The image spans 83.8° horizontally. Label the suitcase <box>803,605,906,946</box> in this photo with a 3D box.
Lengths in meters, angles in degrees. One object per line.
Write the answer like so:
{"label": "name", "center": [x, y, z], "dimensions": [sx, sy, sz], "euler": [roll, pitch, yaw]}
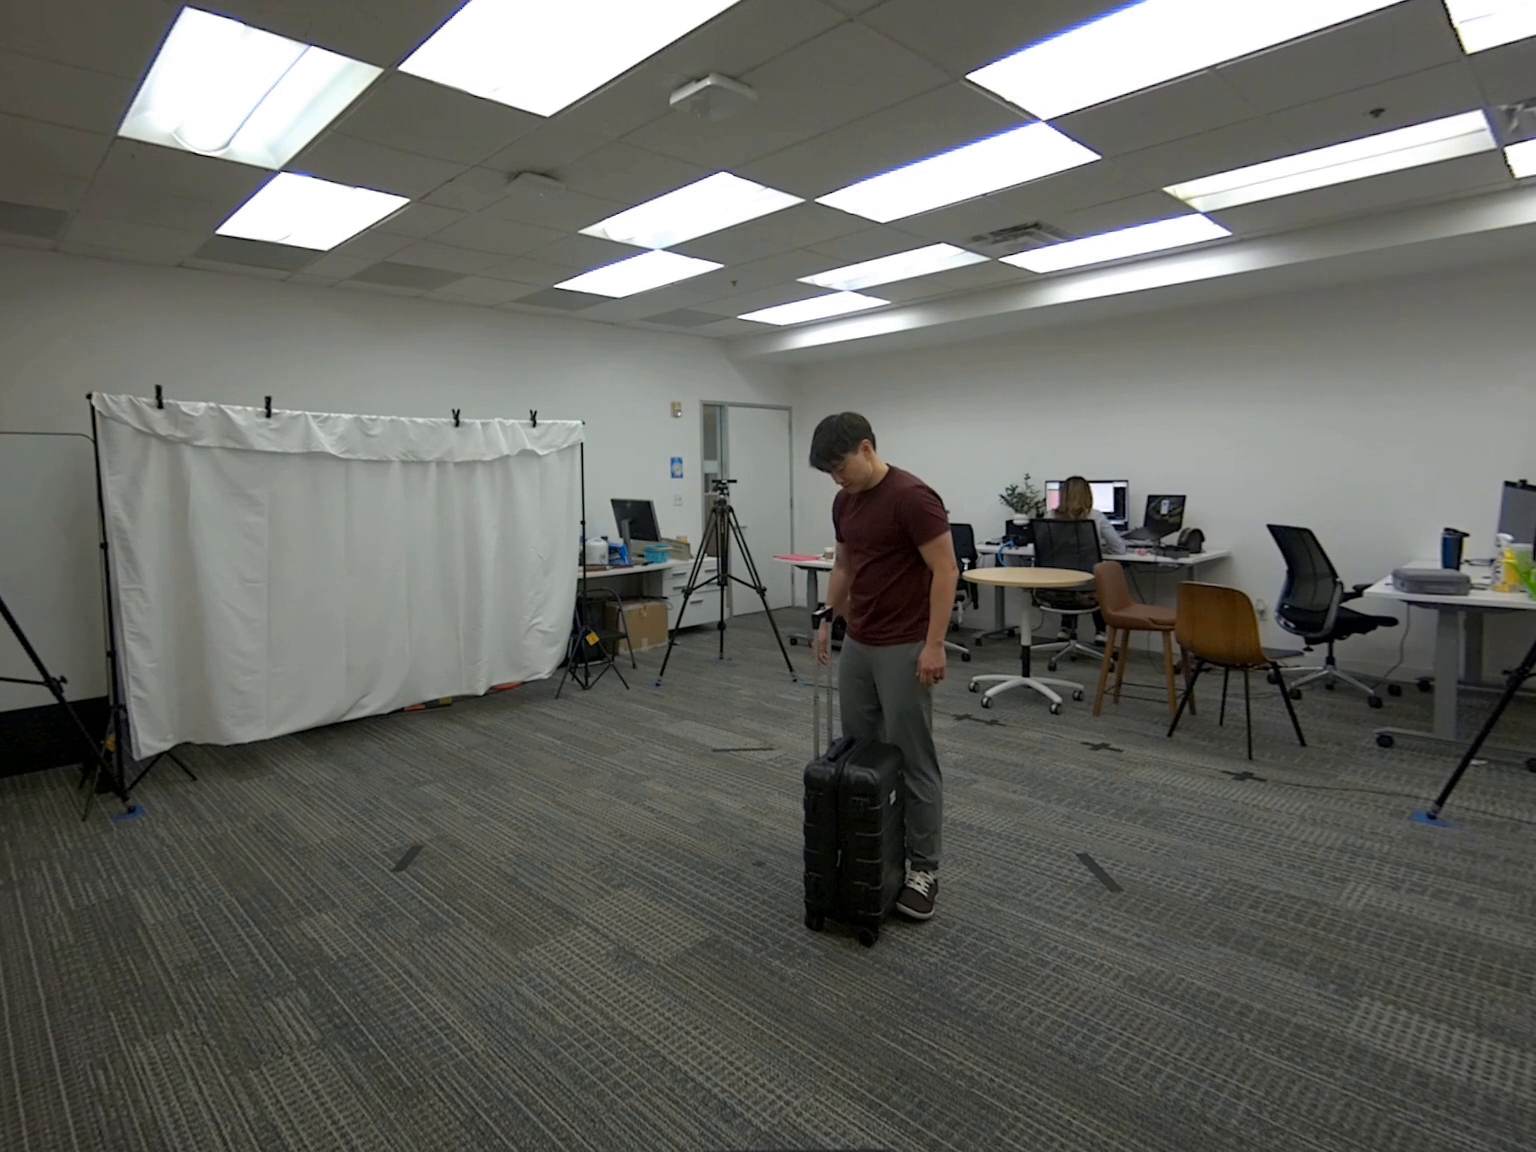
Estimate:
{"label": "suitcase", "center": [0.283, 0.610, 2.691], "dimensions": [0.263, 0.974, 0.377], "euler": [2, 5, 23]}
